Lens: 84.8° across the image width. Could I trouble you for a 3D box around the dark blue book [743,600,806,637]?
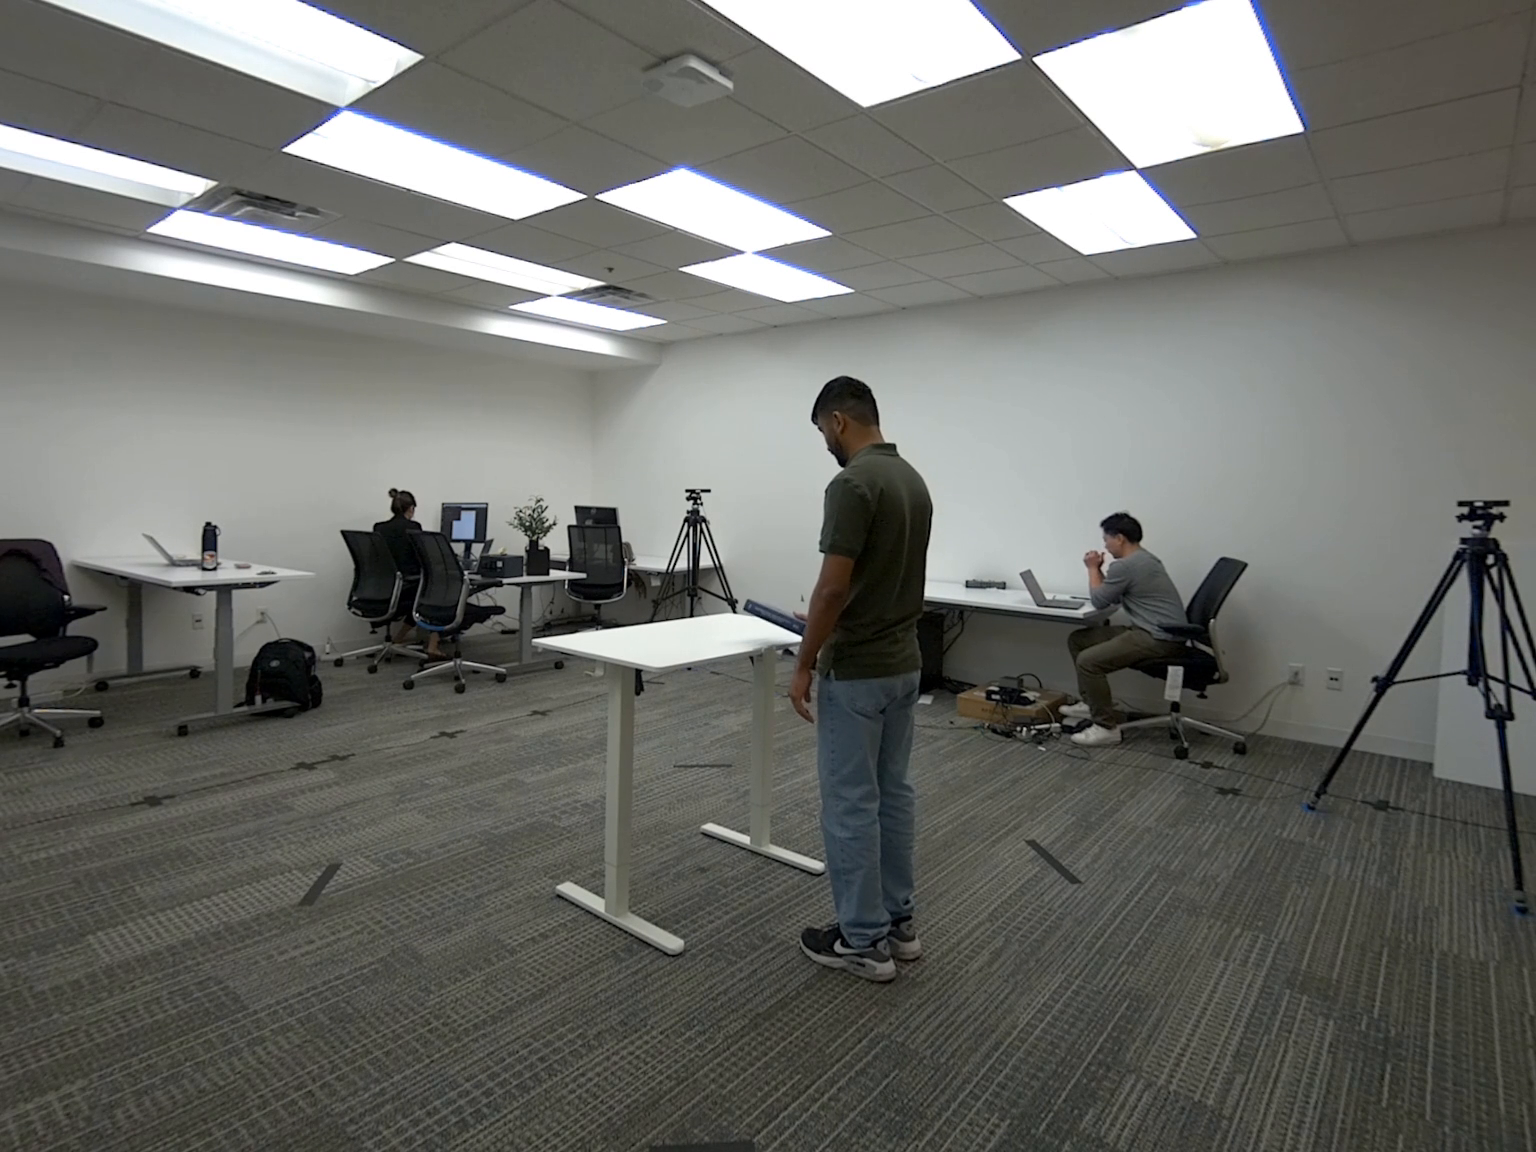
[{"bbox_3d":[0.044,0.139,2.799,0.254,0.045,0.157,22,1,31],"label":"dark blue book"}]
